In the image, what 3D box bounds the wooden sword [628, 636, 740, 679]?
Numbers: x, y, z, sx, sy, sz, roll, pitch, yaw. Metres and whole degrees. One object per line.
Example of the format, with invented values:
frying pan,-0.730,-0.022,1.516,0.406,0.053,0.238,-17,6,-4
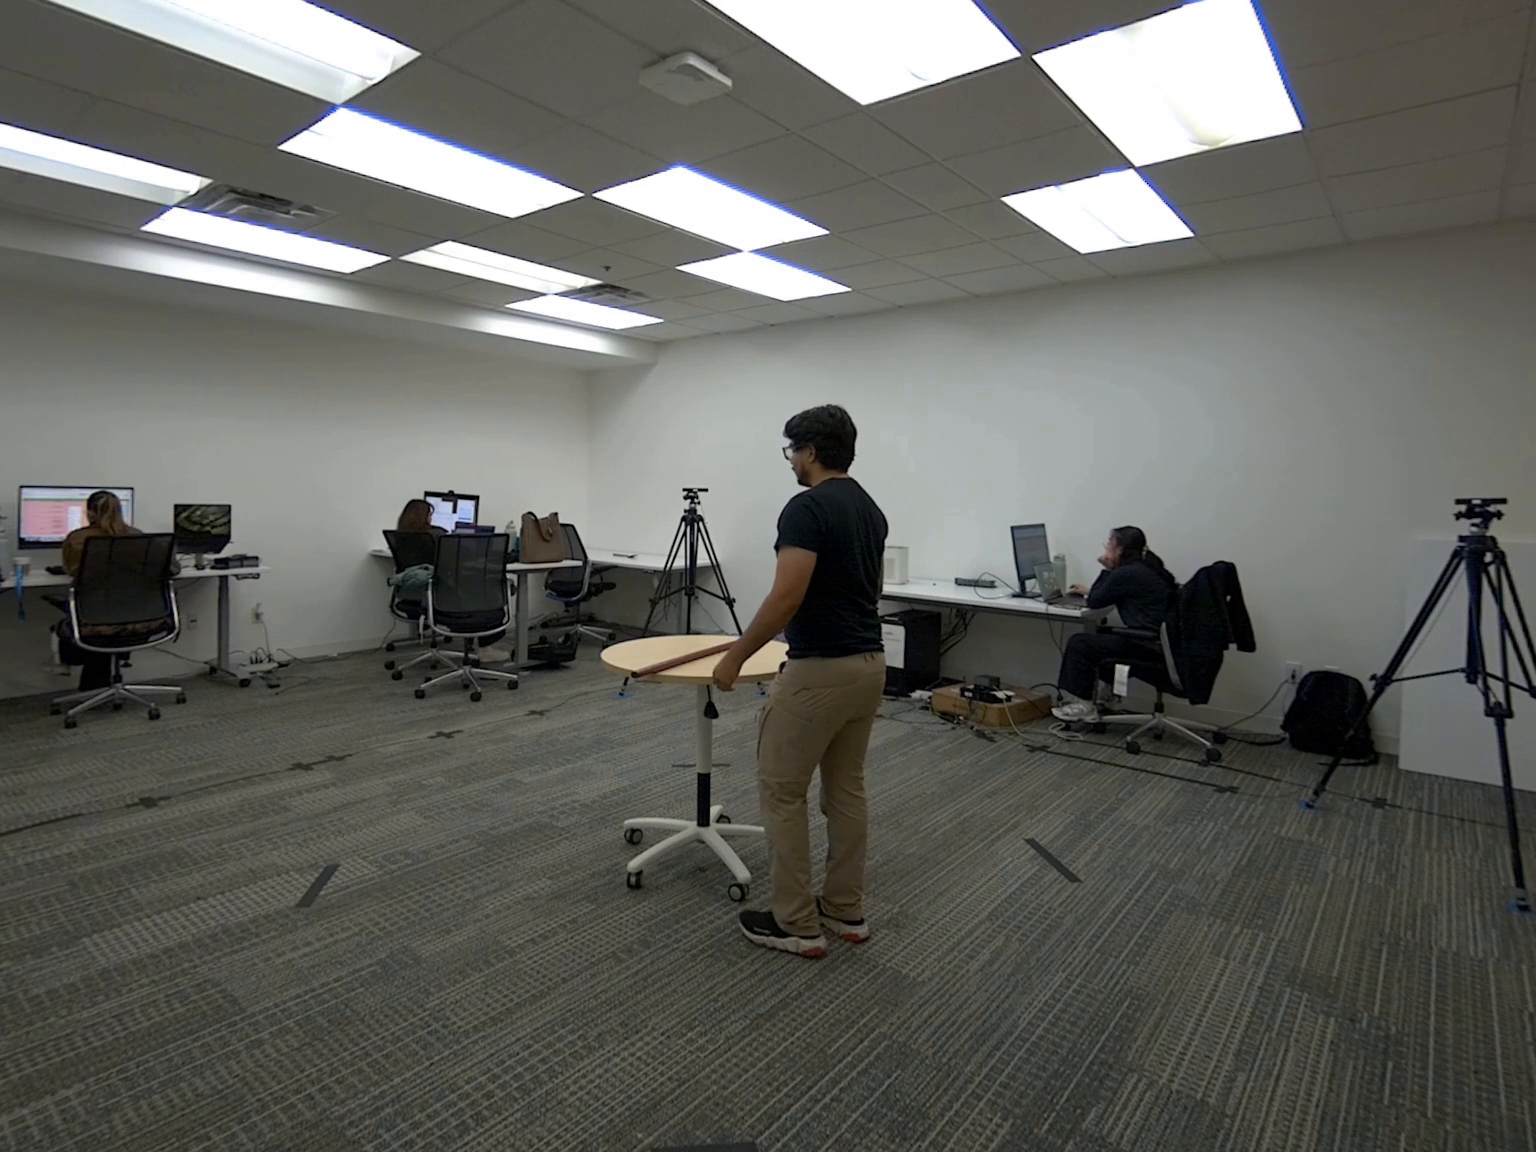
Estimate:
wooden sword,-0.204,0.272,3.135,0.052,0.024,1.001,-8,1,27
